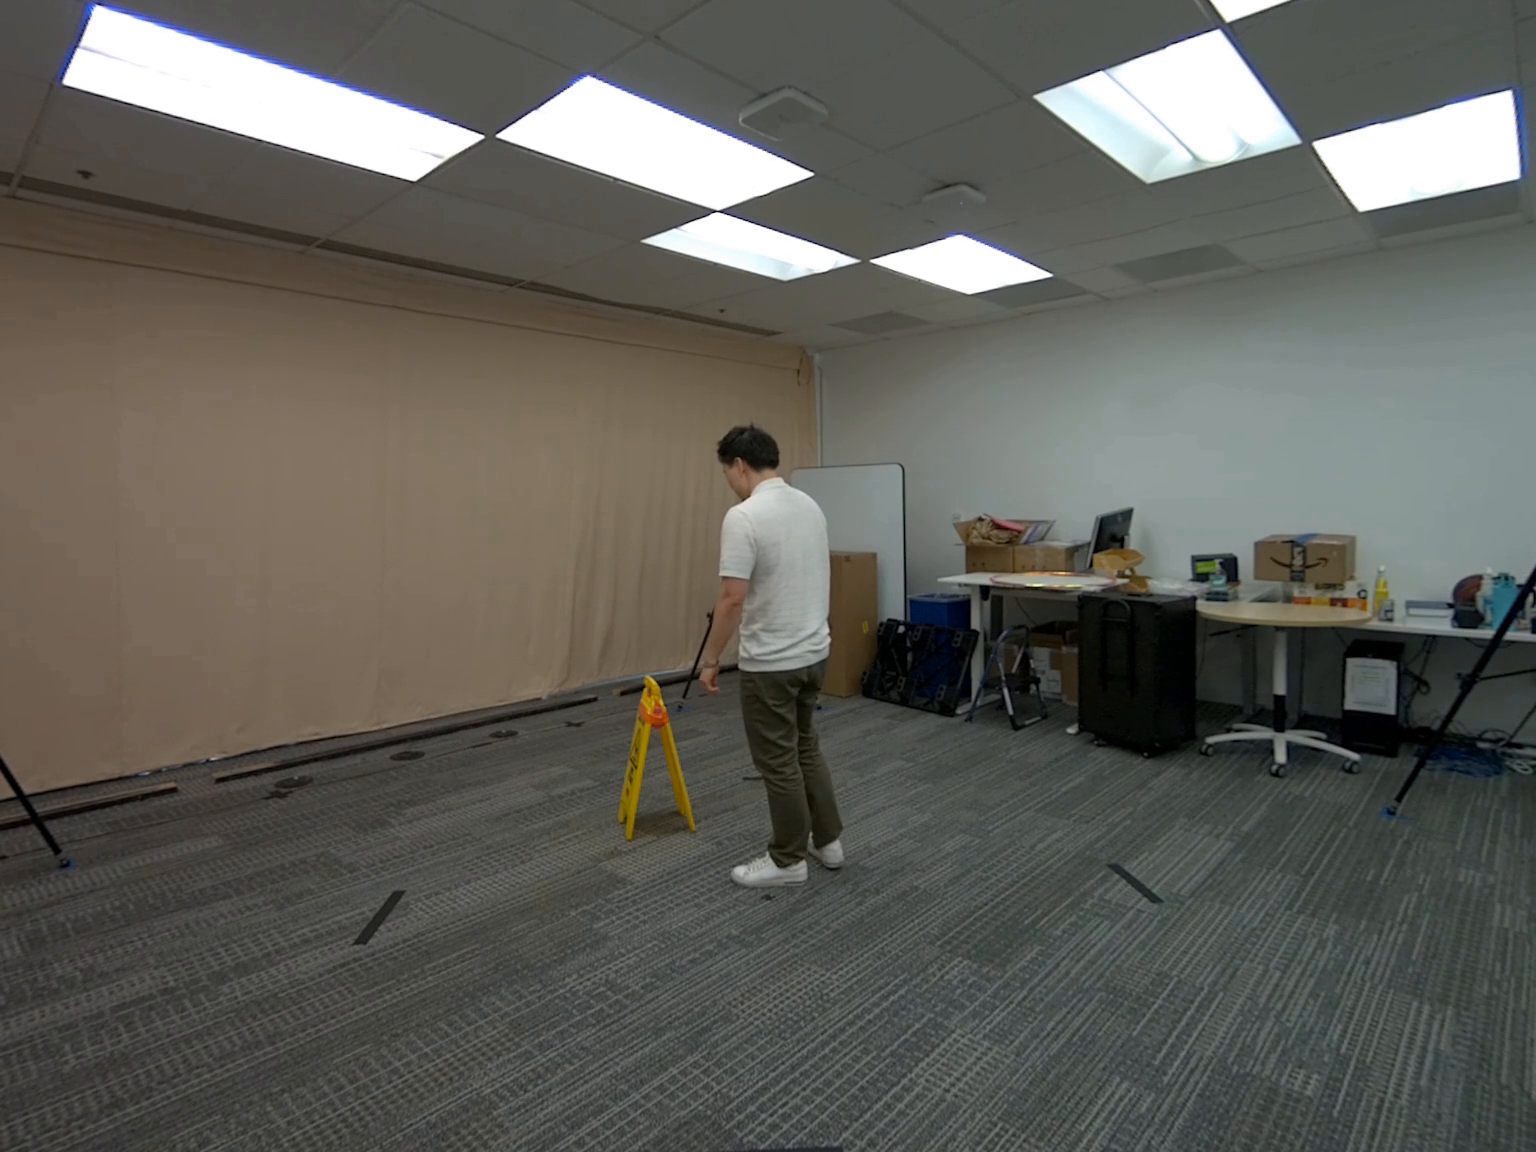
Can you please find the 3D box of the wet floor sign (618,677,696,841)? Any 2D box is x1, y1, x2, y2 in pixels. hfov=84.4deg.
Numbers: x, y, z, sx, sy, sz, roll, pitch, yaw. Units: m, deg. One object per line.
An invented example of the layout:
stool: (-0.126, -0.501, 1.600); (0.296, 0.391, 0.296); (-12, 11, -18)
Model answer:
wet floor sign: (-0.500, 0.767, 3.677); (0.285, 0.645, 0.288); (-2, 3, -18)
